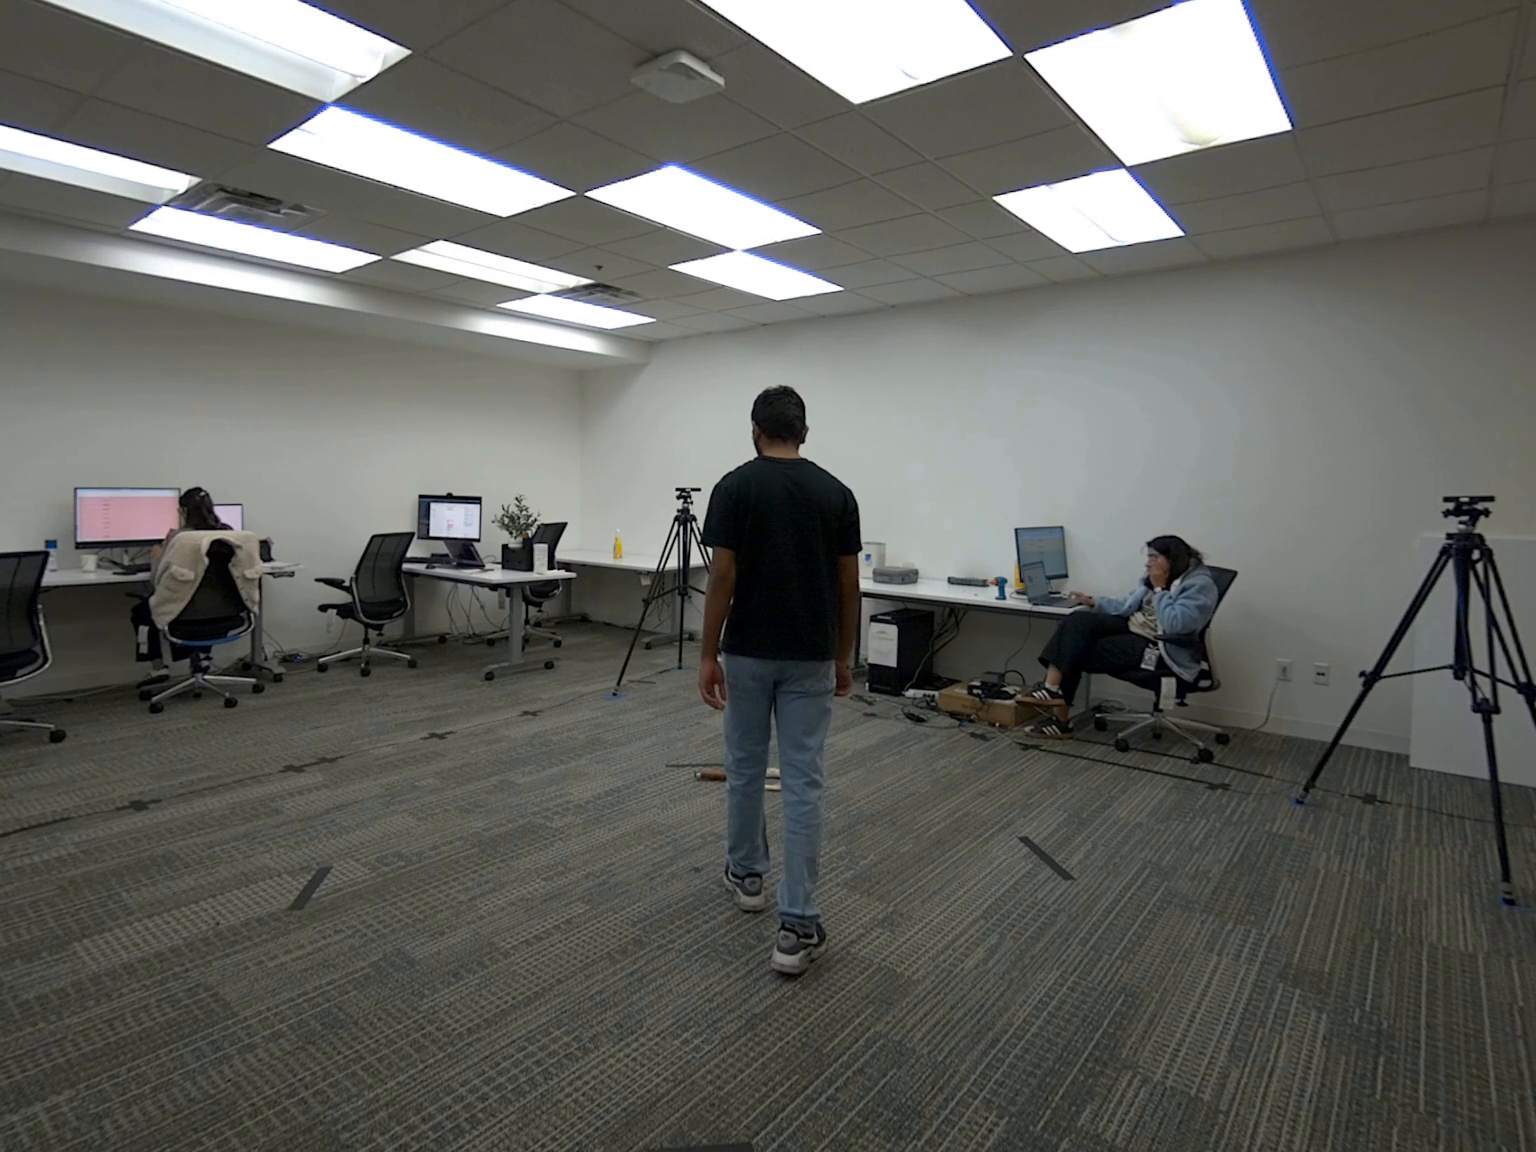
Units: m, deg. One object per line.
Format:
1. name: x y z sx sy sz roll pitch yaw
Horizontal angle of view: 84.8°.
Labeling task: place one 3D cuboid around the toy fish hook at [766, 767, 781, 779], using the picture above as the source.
1. toy fish hook: -0.101 0.950 4.024 0.505 0.048 0.226 0 5 -3
